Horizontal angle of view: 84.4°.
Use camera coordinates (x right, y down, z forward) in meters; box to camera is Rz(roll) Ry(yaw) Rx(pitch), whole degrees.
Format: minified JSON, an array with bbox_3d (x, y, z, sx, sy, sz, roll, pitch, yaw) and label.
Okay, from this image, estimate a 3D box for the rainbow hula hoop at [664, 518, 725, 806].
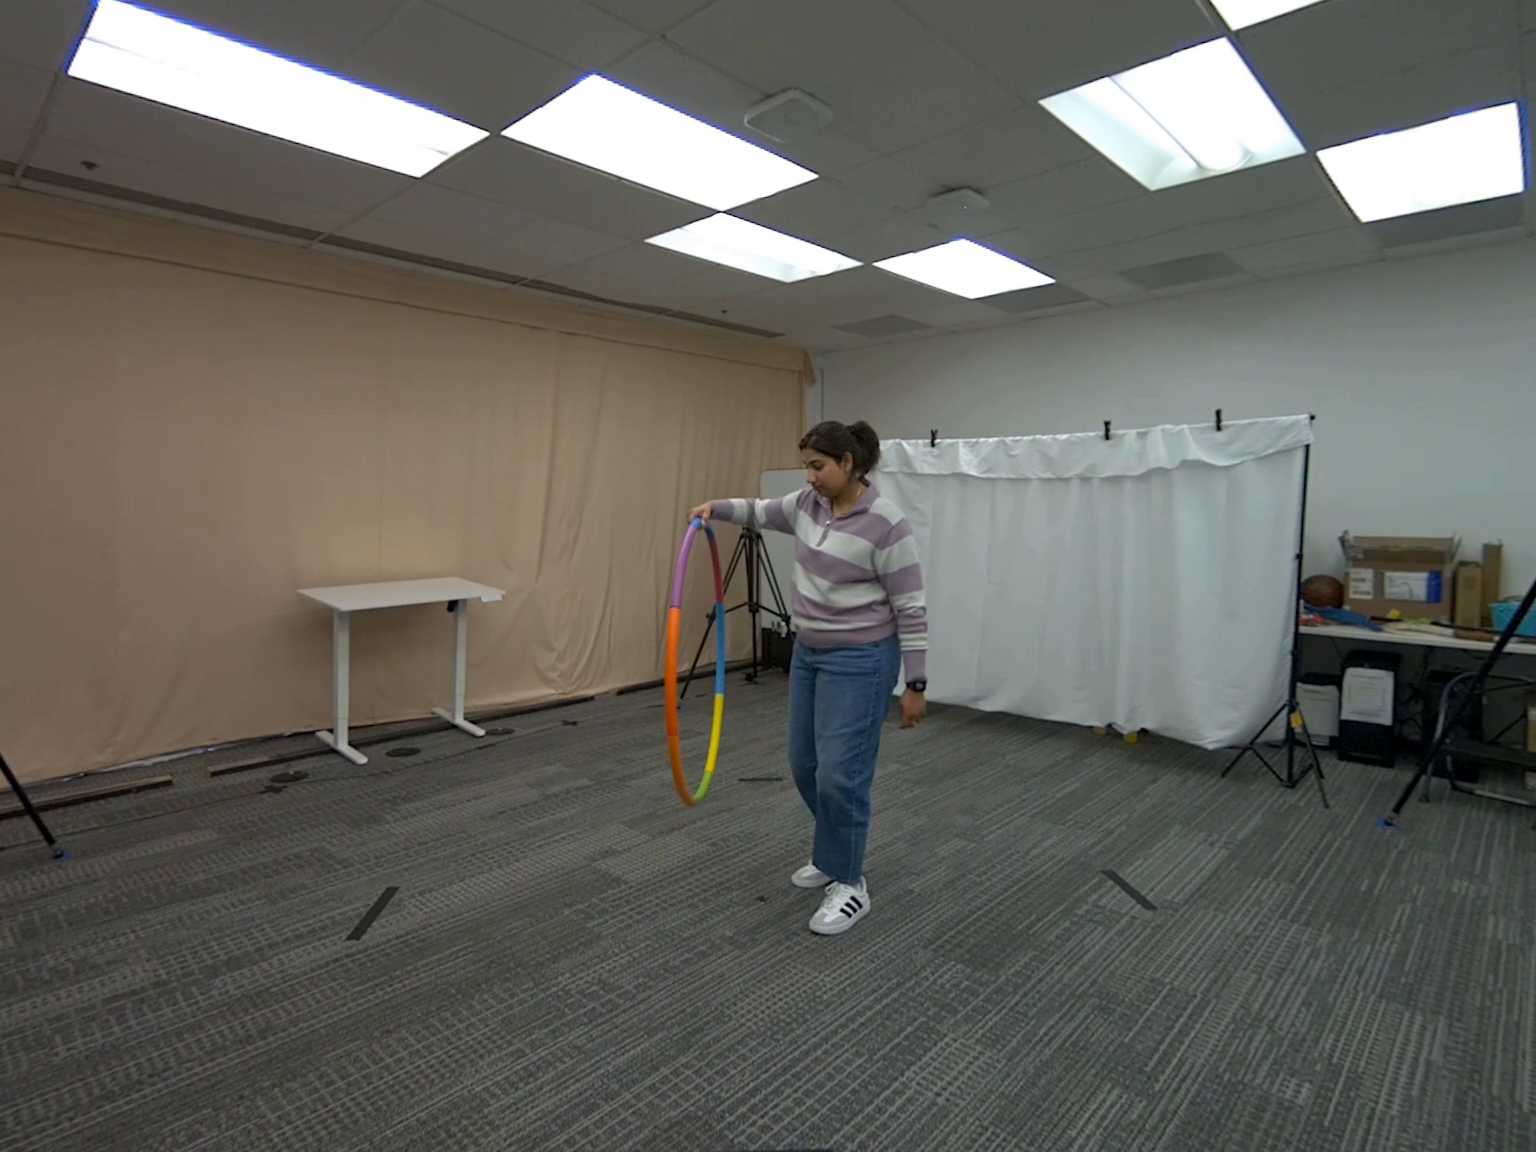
[{"bbox_3d":[-0.225,0.291,2.932,0.052,0.983,0.980,0,4,5],"label":"rainbow hula hoop"}]
